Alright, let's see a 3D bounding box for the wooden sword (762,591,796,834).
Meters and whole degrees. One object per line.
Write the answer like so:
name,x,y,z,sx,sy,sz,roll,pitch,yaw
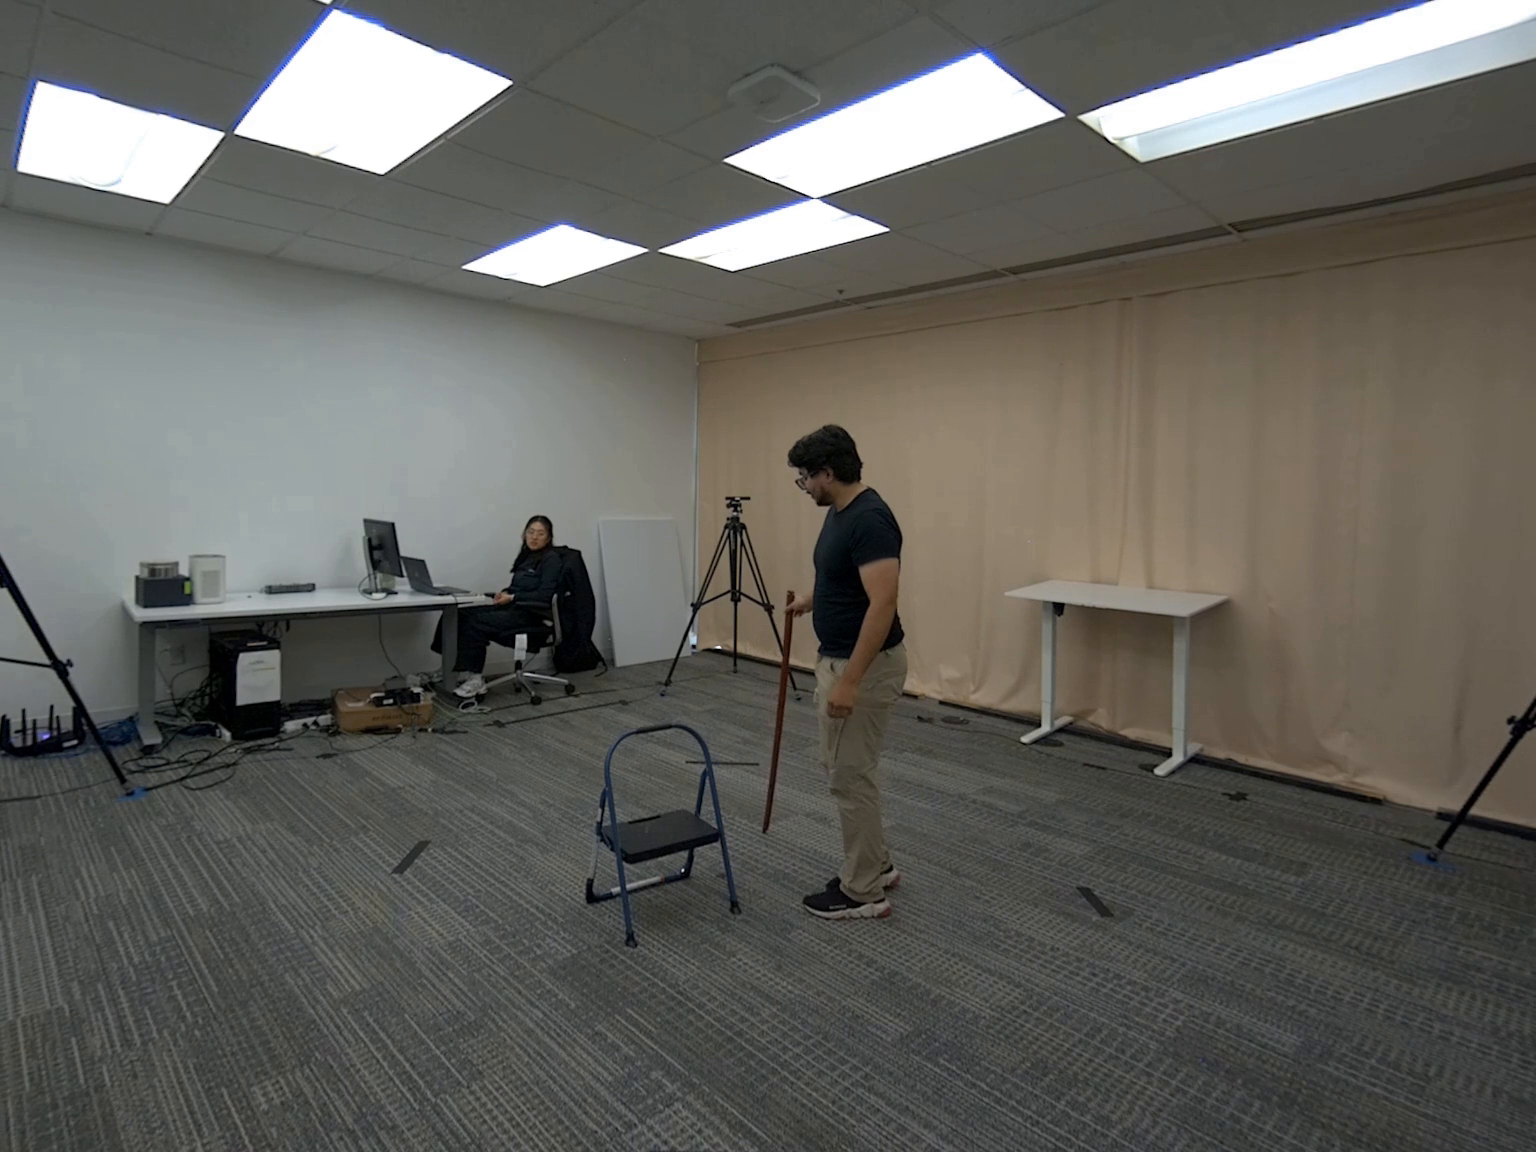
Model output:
wooden sword,0.038,0.582,3.450,0.024,1.021,0.051,8,6,6
